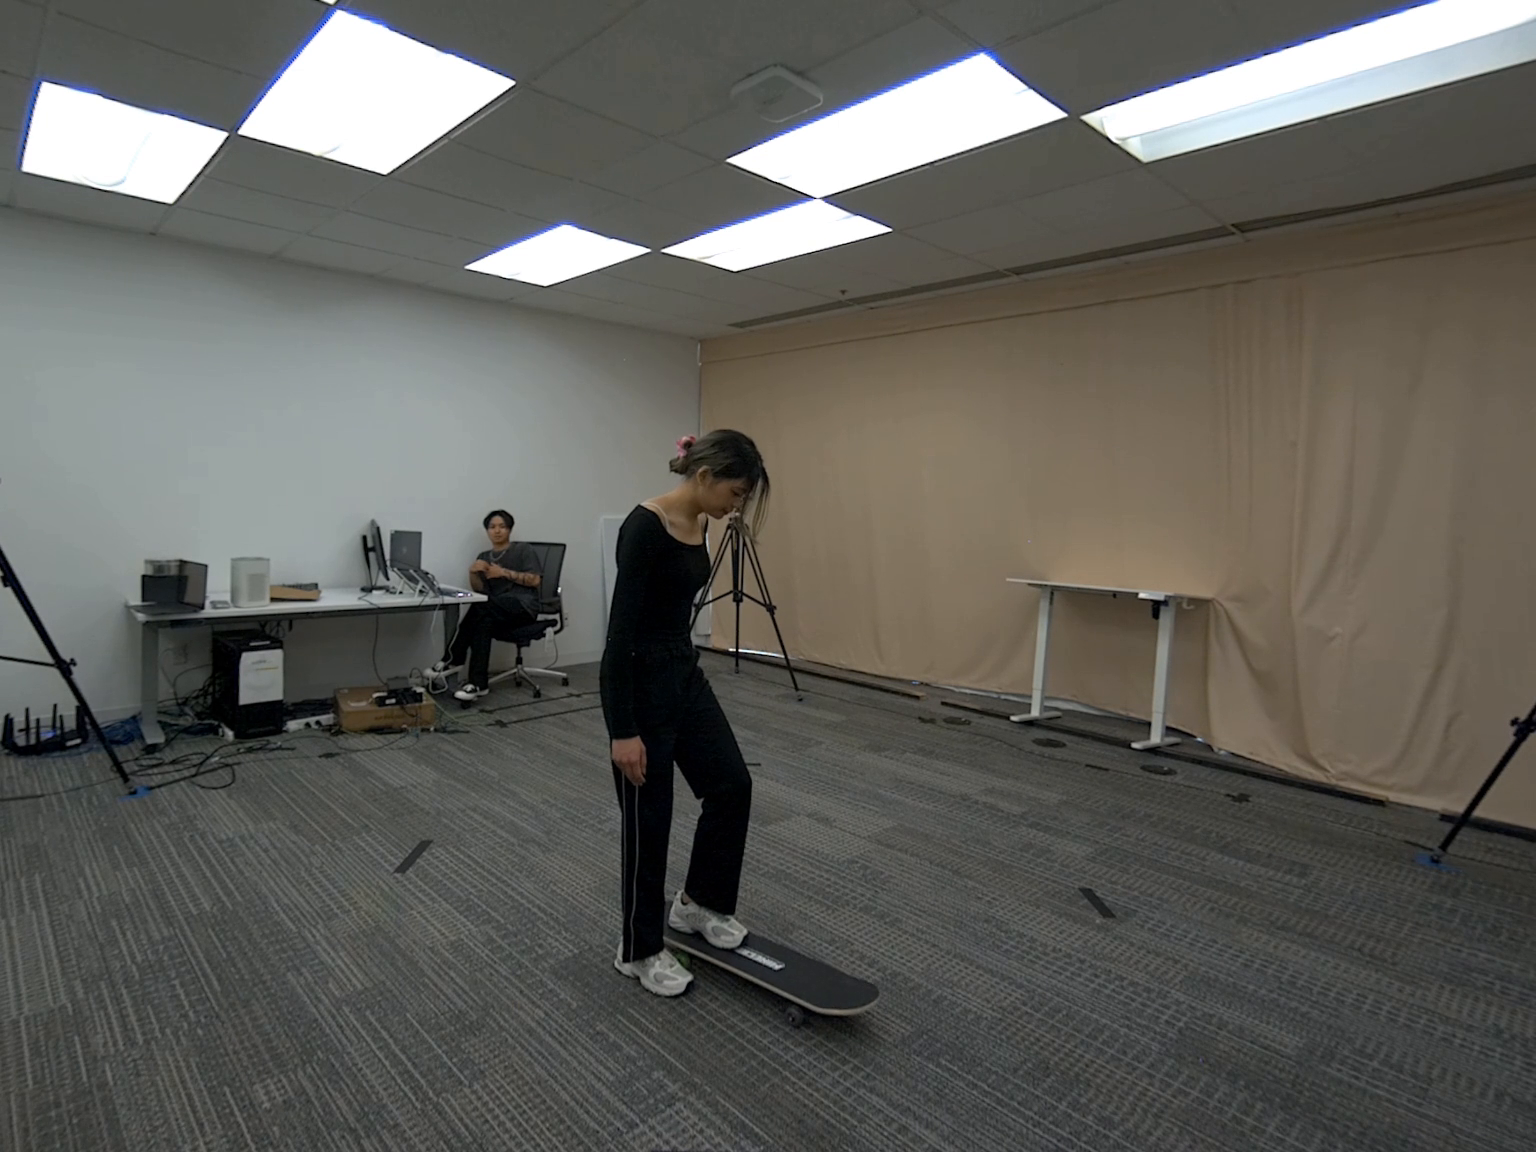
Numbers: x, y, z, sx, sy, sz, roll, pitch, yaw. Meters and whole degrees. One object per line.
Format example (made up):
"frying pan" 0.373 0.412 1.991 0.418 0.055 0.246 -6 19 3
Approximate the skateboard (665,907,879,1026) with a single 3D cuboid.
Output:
"skateboard" -0.050 1.124 2.411 0.805 0.110 0.189 5 6 38
